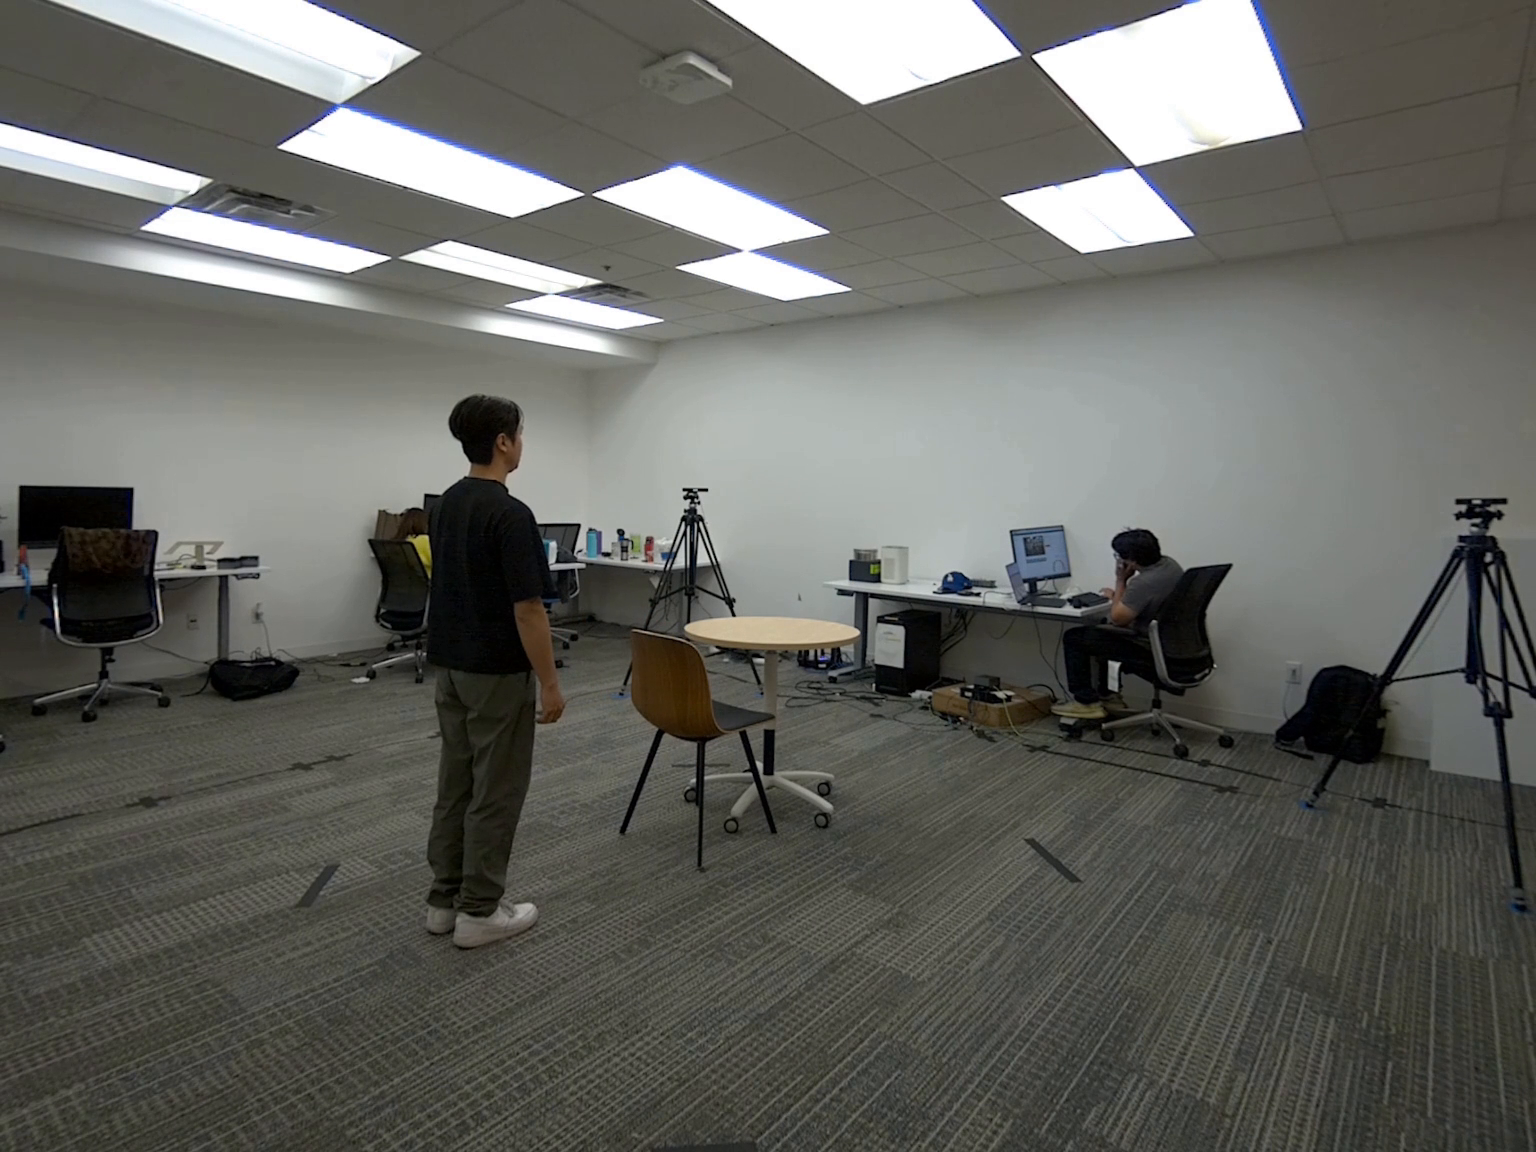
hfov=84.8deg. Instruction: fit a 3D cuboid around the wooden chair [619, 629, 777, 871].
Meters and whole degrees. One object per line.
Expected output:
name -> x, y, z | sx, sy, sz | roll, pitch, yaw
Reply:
wooden chair -> -0.278, 0.614, 3.412 | 0.494, 0.872, 0.509 | 4, 8, 41
